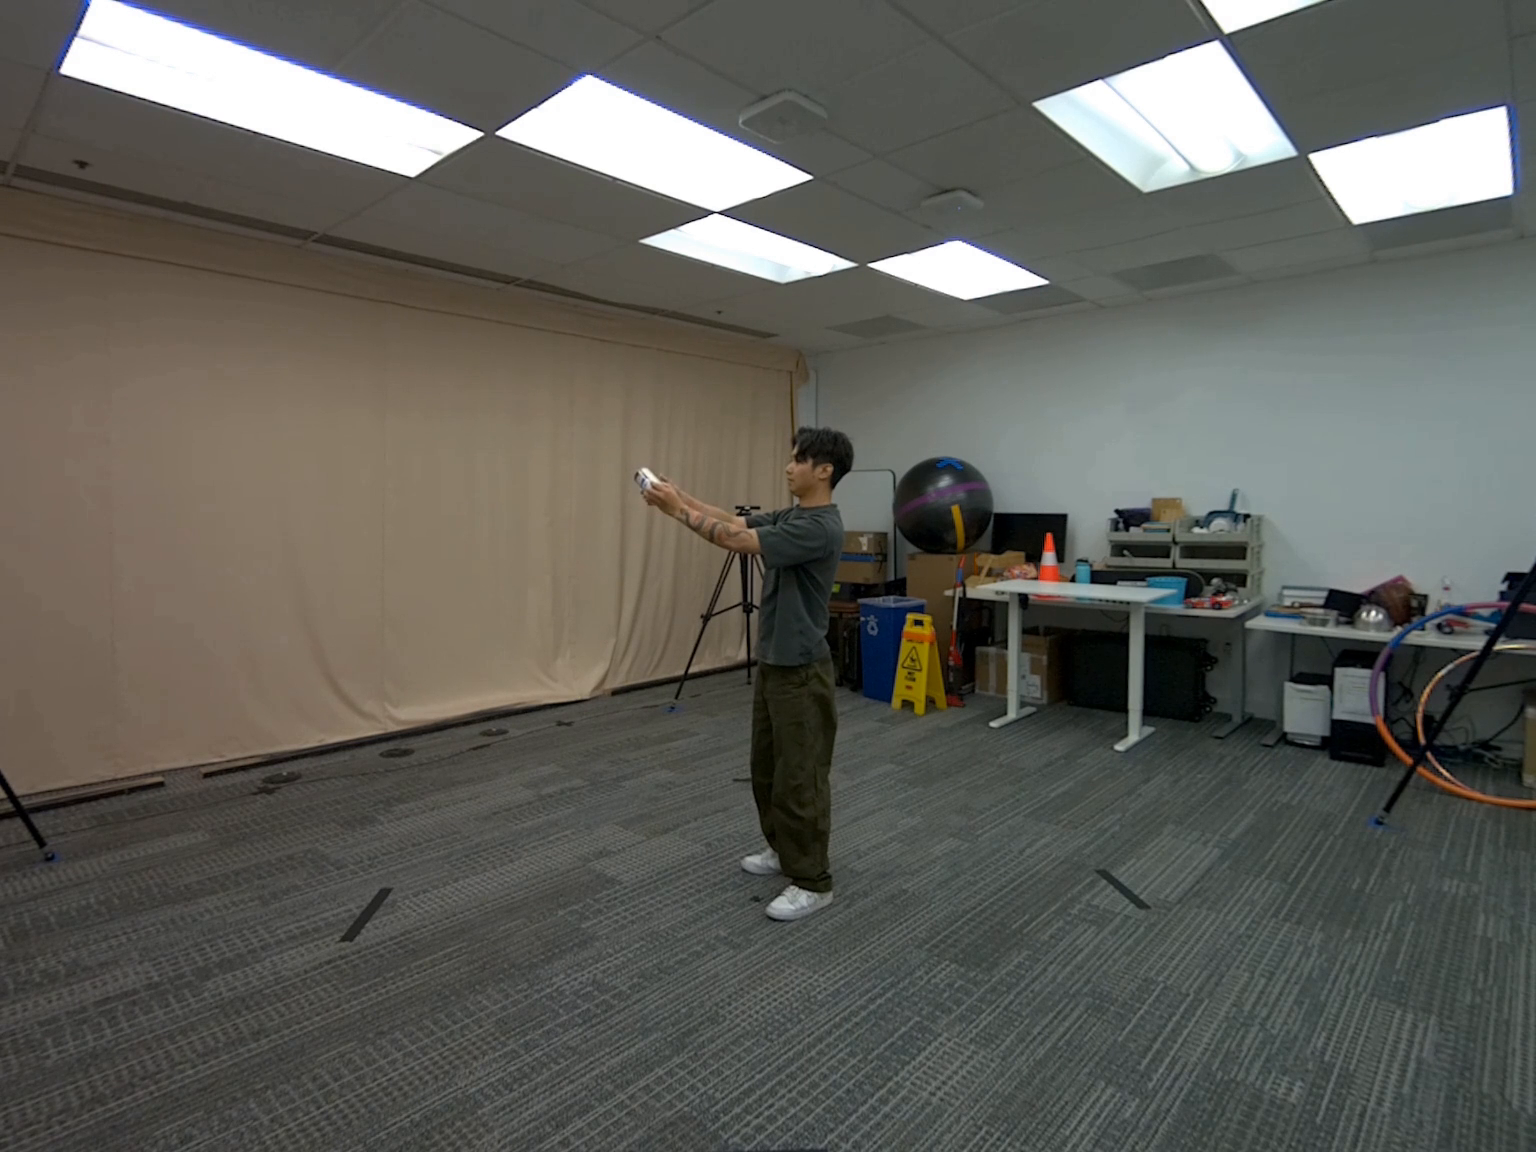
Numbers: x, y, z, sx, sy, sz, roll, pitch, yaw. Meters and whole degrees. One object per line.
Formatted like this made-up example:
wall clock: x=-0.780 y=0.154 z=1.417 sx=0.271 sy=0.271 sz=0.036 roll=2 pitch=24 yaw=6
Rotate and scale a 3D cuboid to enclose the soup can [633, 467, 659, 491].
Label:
soup can: x=-0.412 y=-0.320 z=2.923 sx=0.065 sy=0.067 sz=0.126 roll=-3 pitch=37 yaw=-41
